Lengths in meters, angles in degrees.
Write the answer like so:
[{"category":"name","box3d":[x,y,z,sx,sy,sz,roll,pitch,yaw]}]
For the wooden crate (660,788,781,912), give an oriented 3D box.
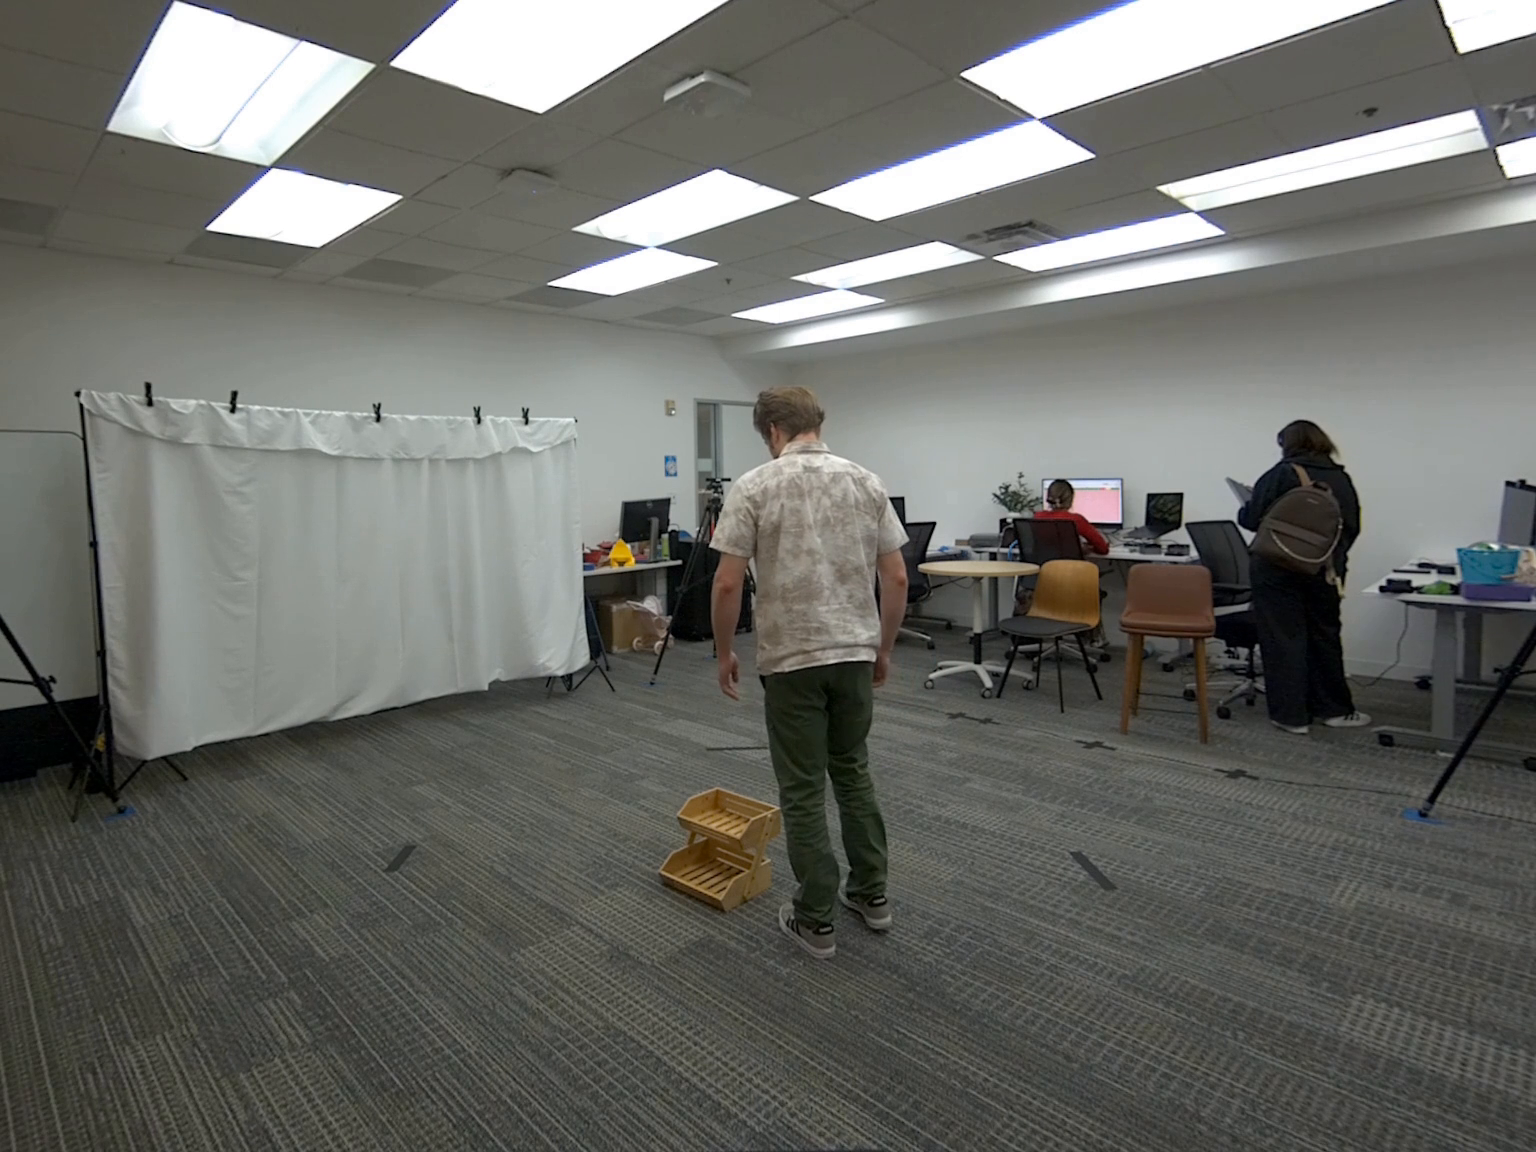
[{"category":"wooden crate","box3d":[-0.165,0.928,2.944,0.334,0.272,0.294,4,6,42]}]
